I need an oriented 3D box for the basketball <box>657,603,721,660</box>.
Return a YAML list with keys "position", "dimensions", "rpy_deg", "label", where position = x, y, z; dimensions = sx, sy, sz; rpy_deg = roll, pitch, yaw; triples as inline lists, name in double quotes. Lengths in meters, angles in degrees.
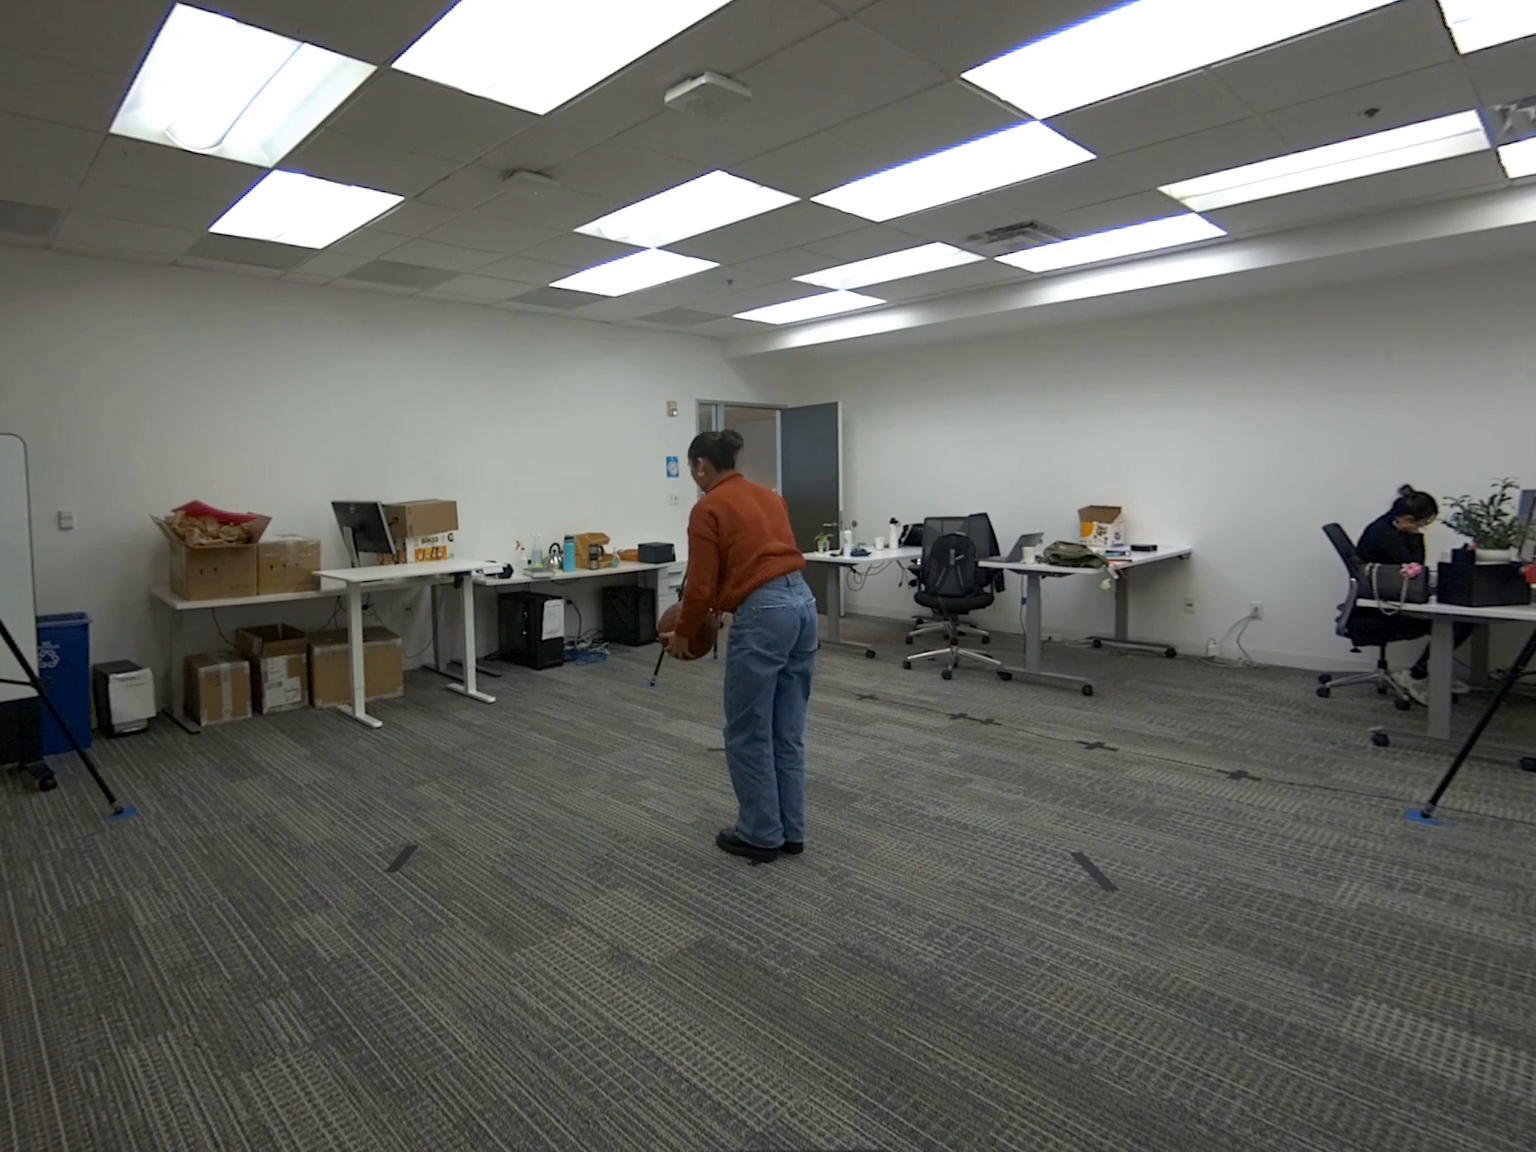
- position: [-0.311, 0.222, 3.376]
  dimensions: [0.236, 0.235, 0.237]
  rpy_deg: [-1, 5, -2]
  label: "basketball"
